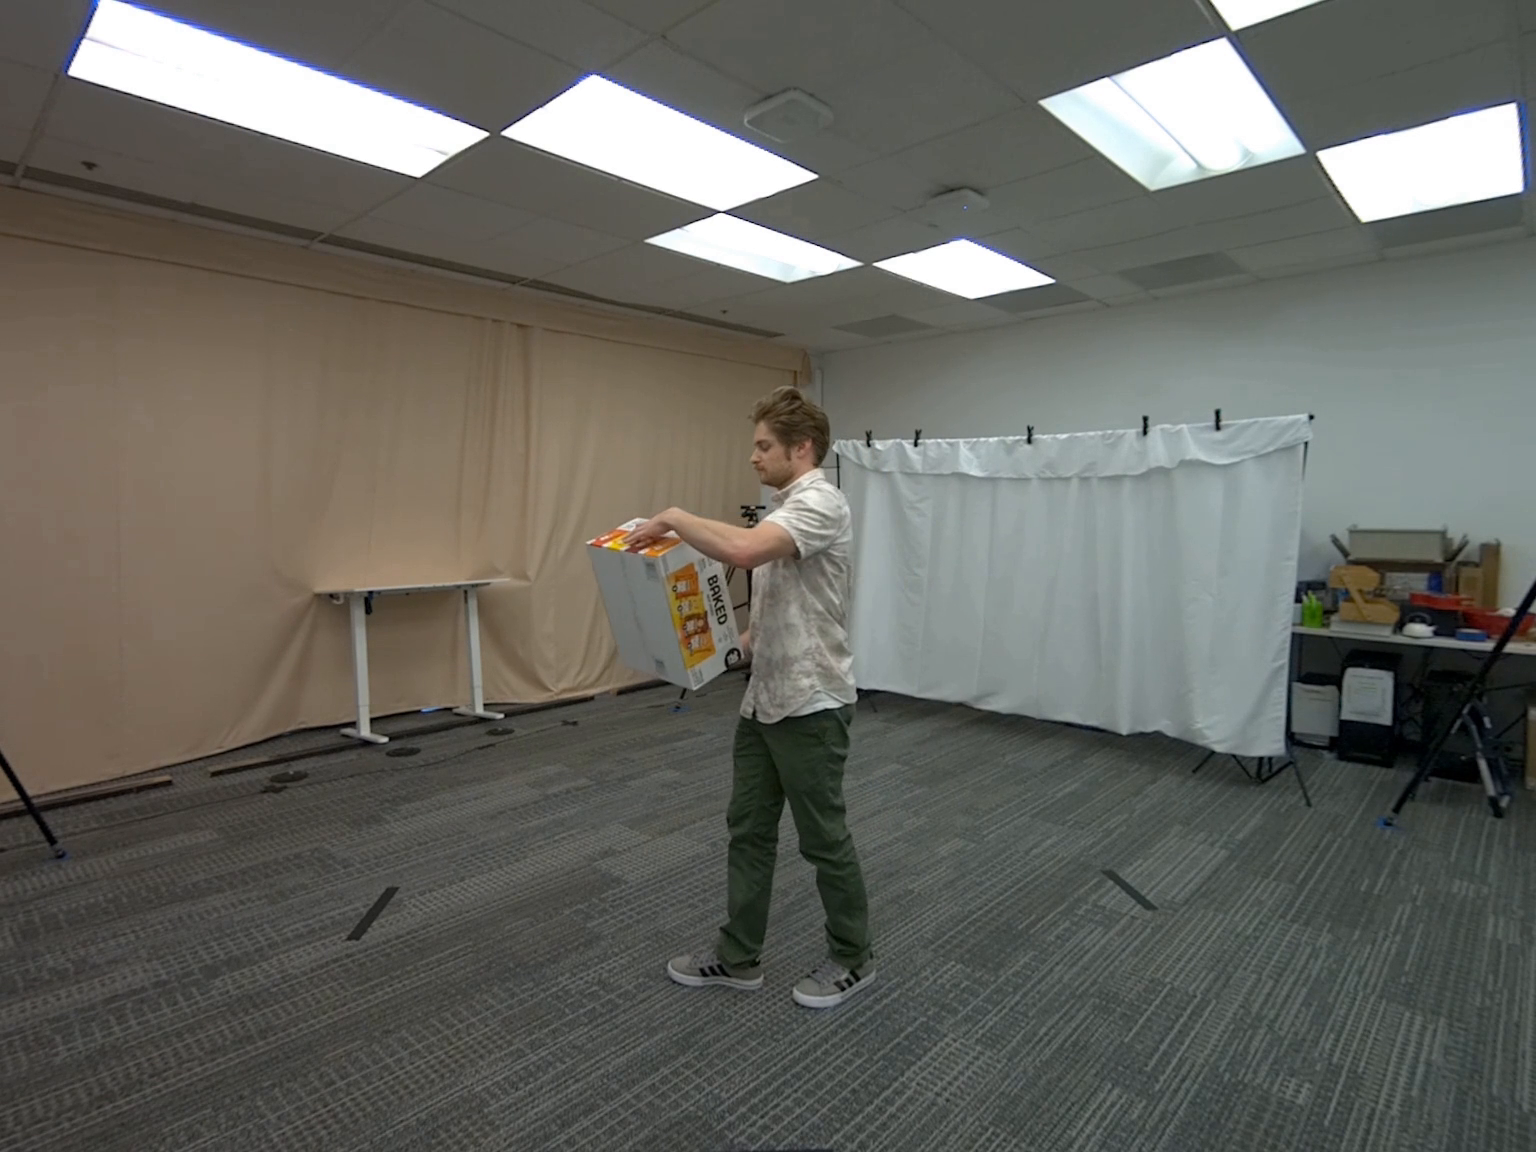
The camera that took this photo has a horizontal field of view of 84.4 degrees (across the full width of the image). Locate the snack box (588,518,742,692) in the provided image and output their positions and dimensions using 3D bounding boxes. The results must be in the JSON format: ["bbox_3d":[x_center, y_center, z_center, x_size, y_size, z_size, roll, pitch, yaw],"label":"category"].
[{"bbox_3d":[-0.295,0.068,2.409,0.352,0.398,0.202,10,30,45],"label":"snack box"}]
